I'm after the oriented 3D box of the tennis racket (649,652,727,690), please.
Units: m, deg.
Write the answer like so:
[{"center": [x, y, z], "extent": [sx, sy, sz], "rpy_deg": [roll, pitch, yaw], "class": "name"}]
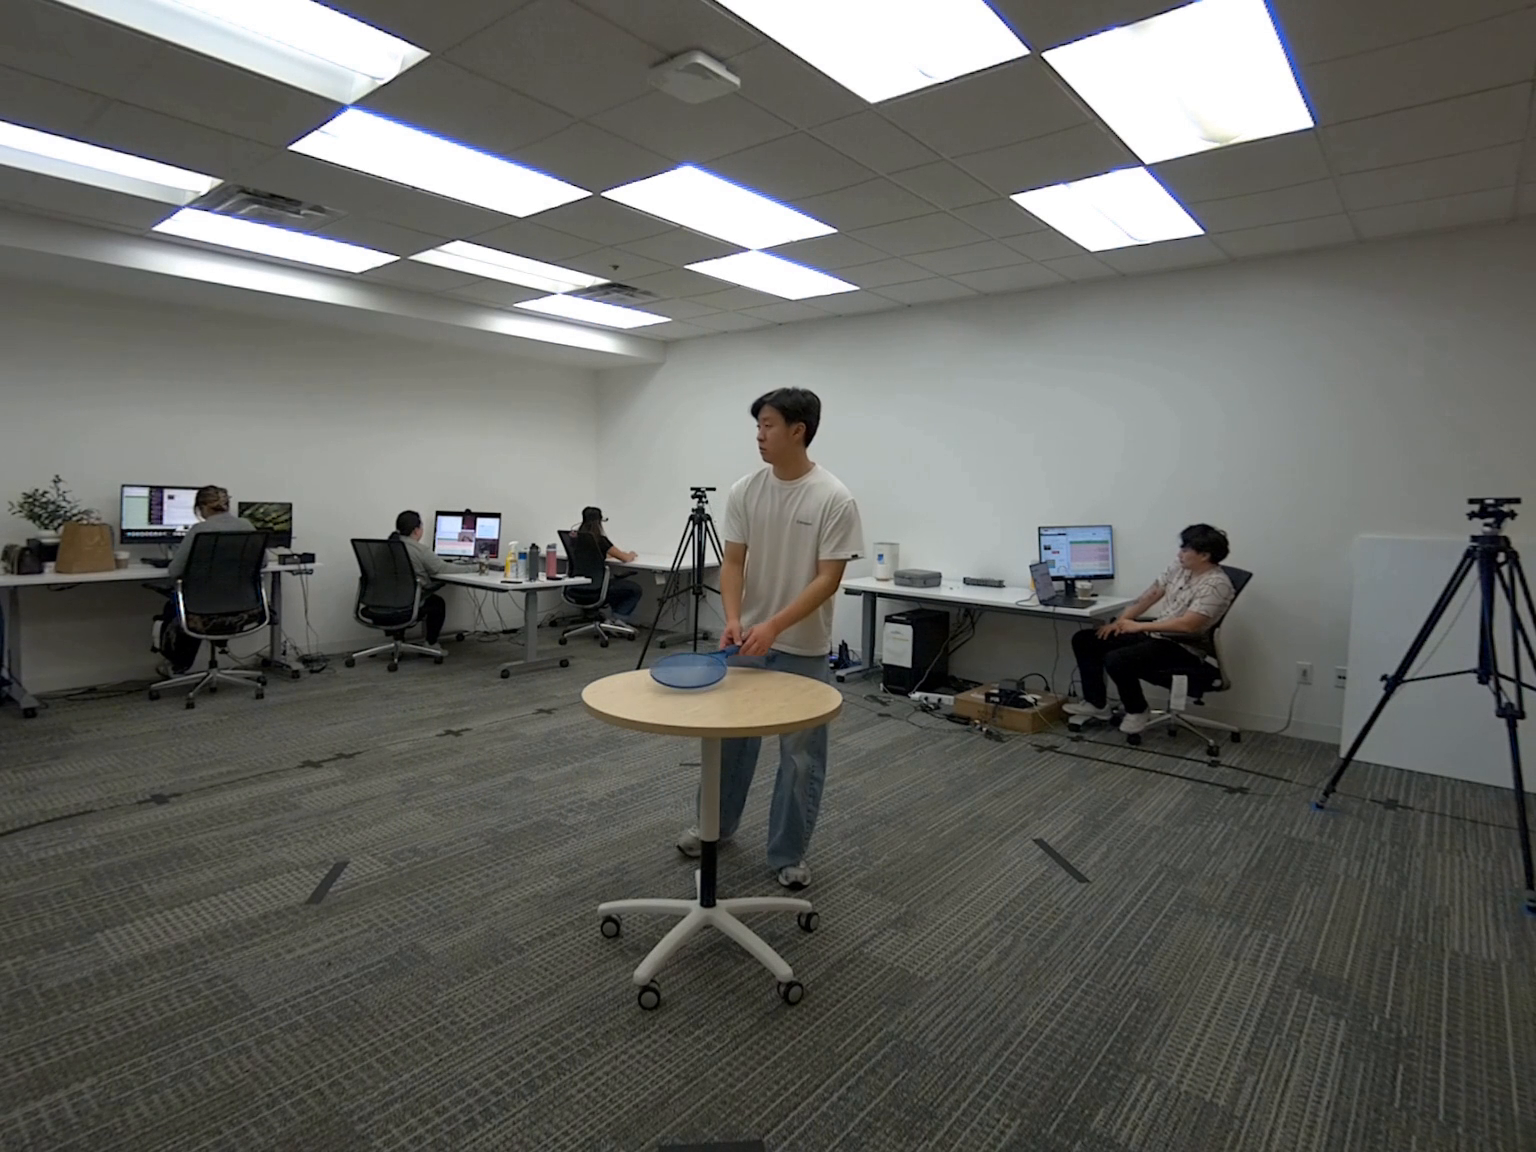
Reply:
[{"center": [-0.200, 0.273, 2.646], "extent": [0.222, 0.031, 0.422], "rpy_deg": [15, 18, 36], "class": "tennis racket"}]
